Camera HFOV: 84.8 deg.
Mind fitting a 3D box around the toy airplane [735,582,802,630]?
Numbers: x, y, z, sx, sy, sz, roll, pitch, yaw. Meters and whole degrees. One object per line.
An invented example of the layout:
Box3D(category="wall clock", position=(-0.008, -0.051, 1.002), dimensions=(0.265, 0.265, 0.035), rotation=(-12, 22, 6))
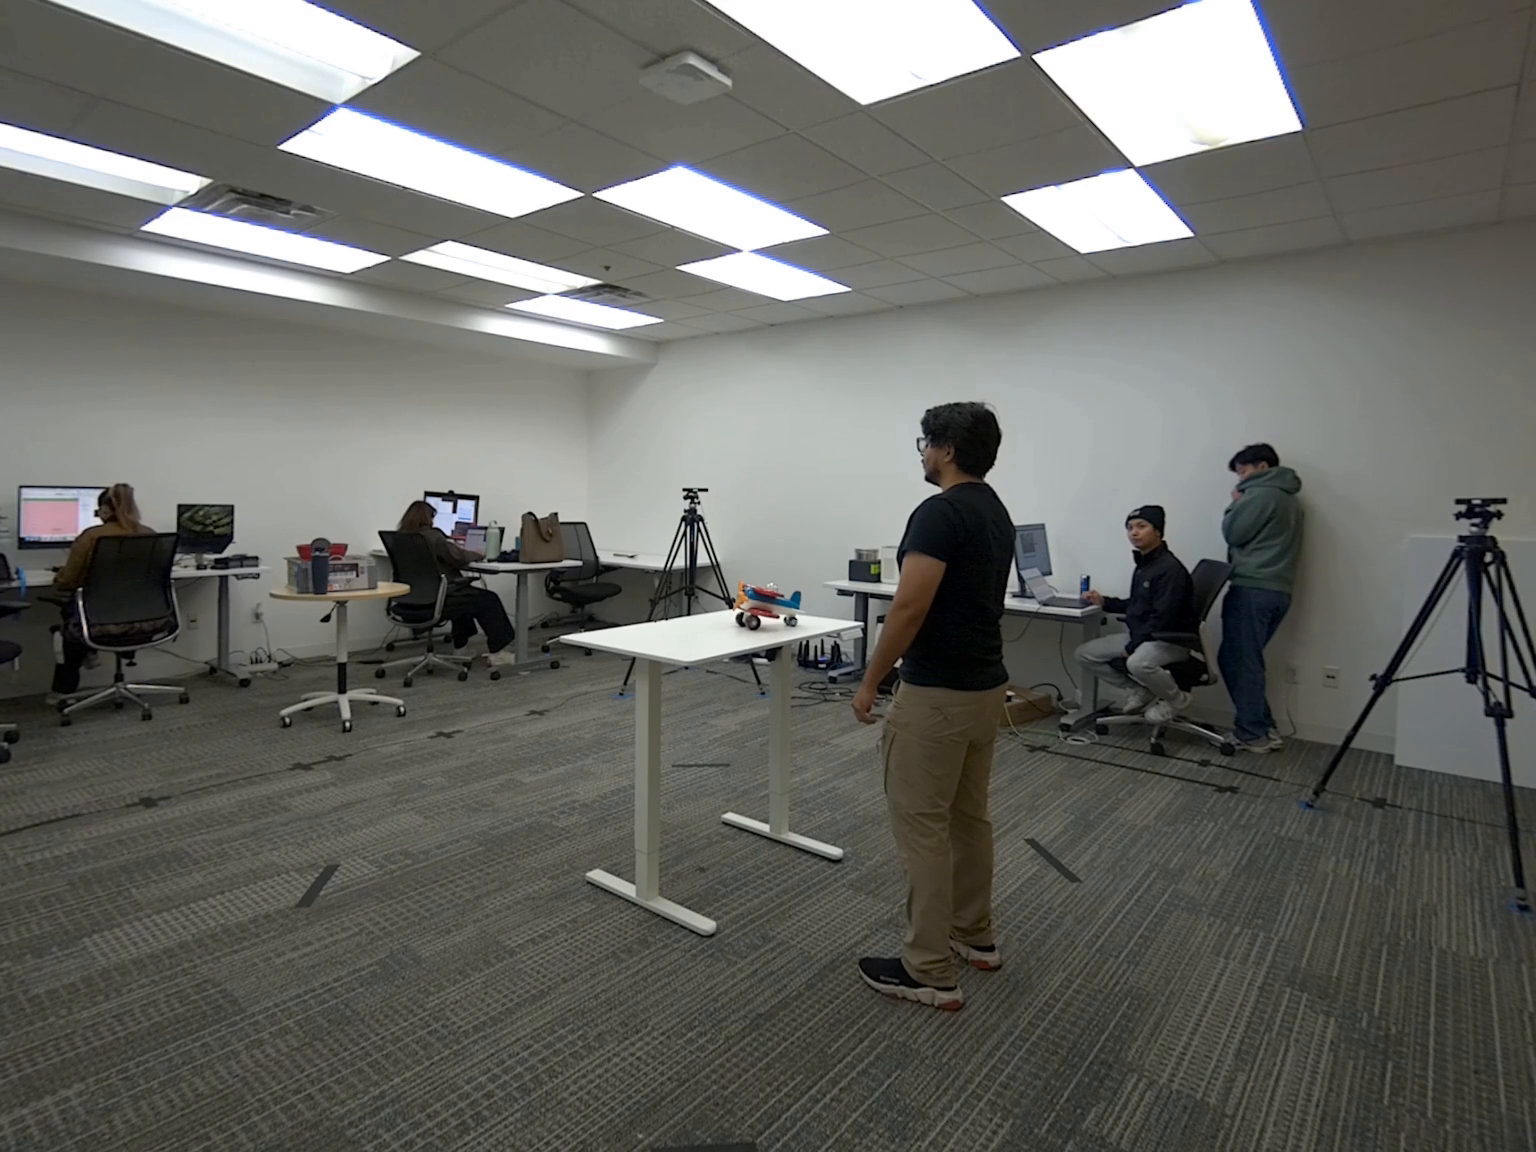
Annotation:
Box3D(category="toy airplane", position=(-0.019, 0.104, 3.160), dimensions=(0.259, 0.156, 0.252), rotation=(5, 7, 36))
